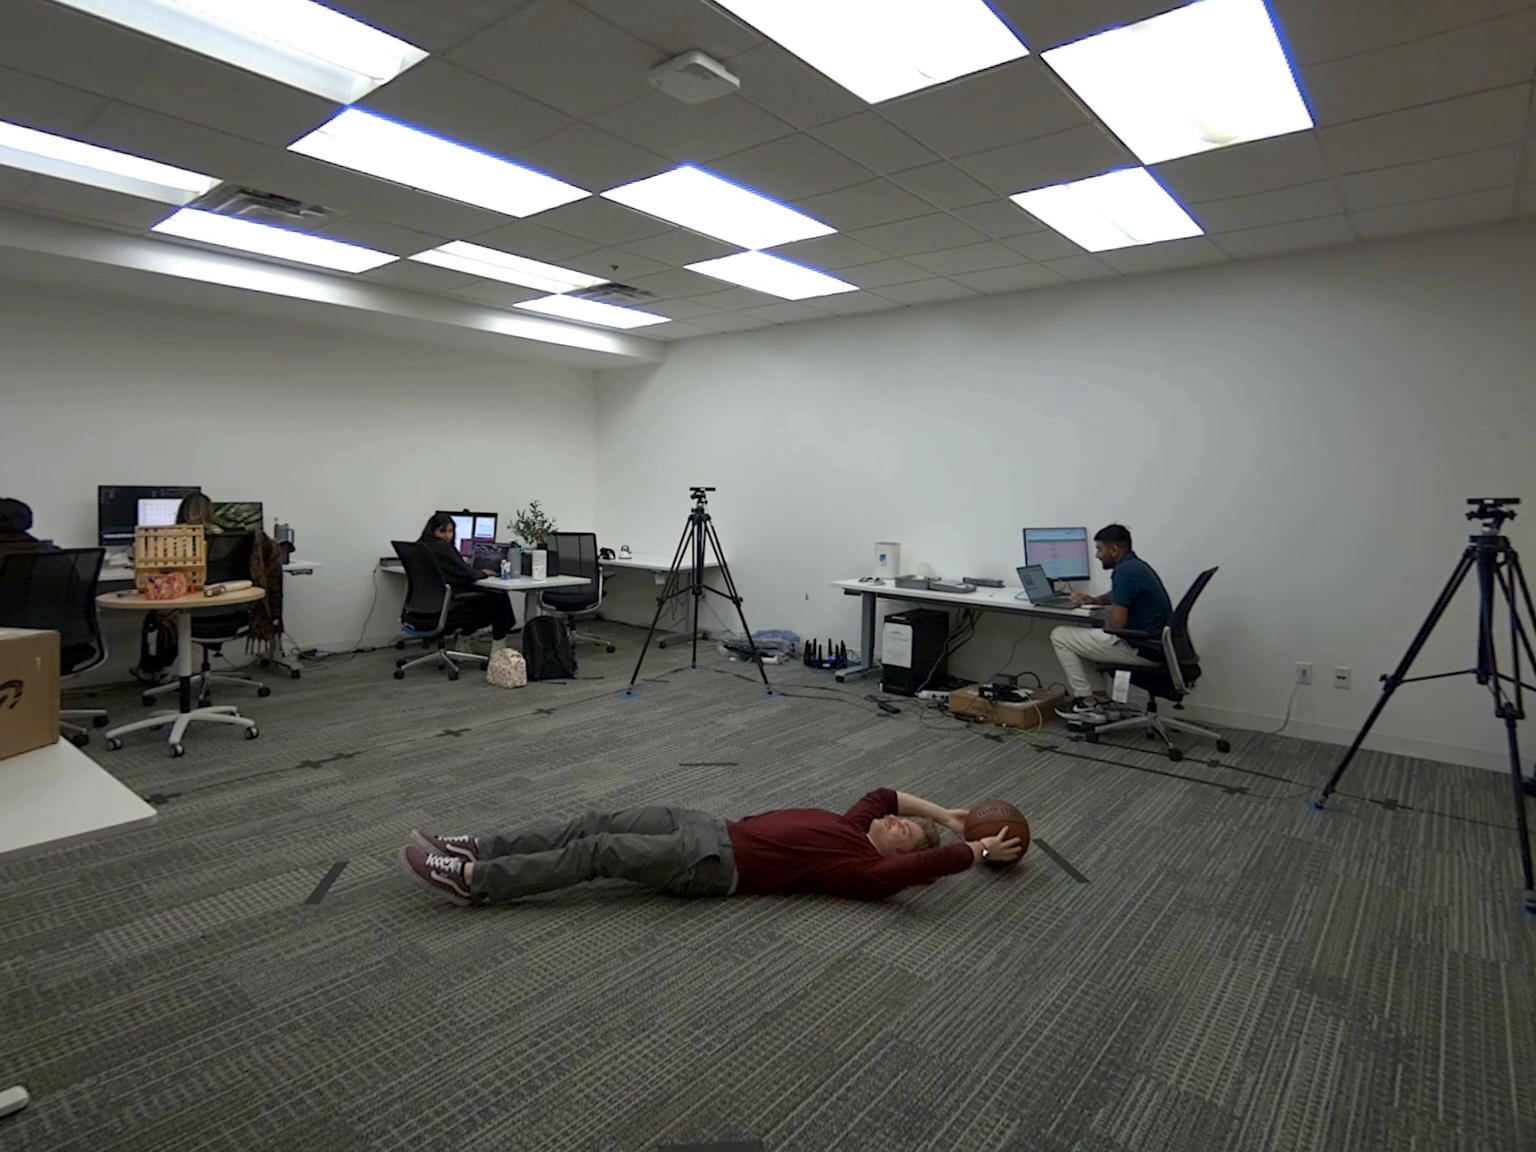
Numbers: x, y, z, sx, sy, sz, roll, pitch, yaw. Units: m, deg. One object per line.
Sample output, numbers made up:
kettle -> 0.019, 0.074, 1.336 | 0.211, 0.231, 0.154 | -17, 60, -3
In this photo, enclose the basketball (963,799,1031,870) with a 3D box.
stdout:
basketball -> 0.859, 0.963, 3.208 | 0.235, 0.235, 0.237 | 1, 4, -2
